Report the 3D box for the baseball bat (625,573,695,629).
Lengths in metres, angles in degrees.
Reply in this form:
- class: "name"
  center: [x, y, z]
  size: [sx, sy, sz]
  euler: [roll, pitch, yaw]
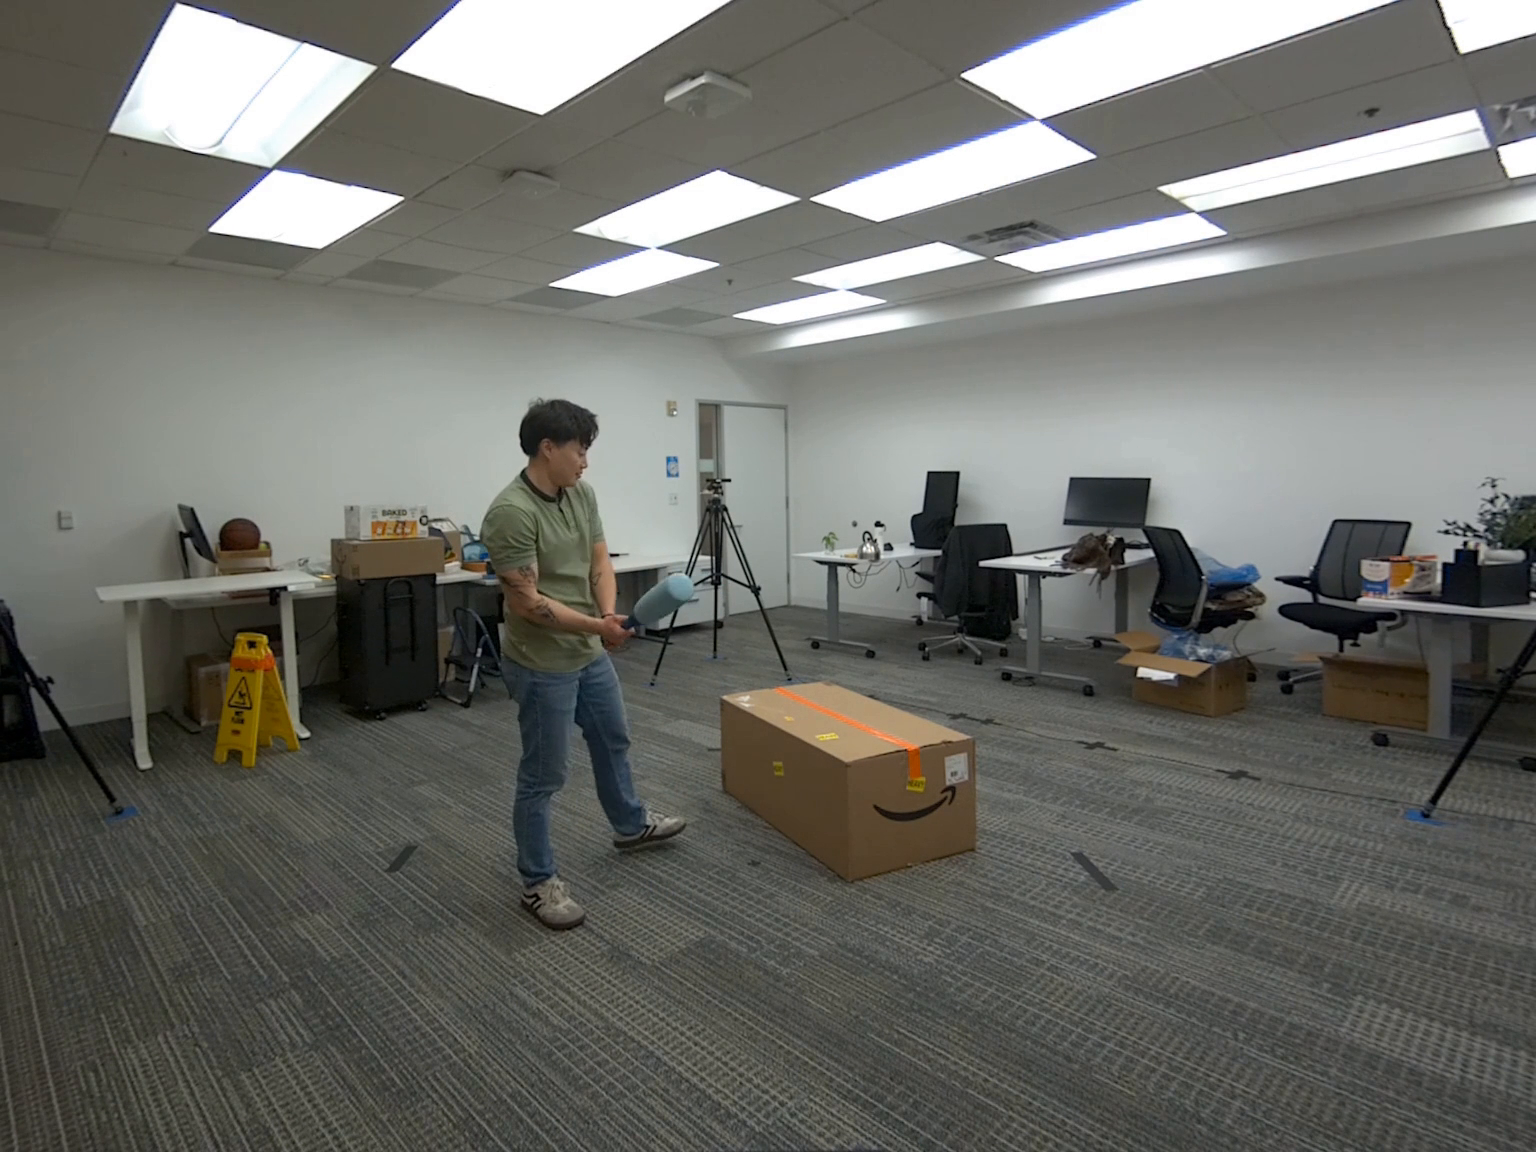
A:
- class: "baseball bat"
  center: [-0.376, 0.109, 2.500]
  size: [0.087, 0.090, 0.546]
  euler: [-3, -18, -32]
